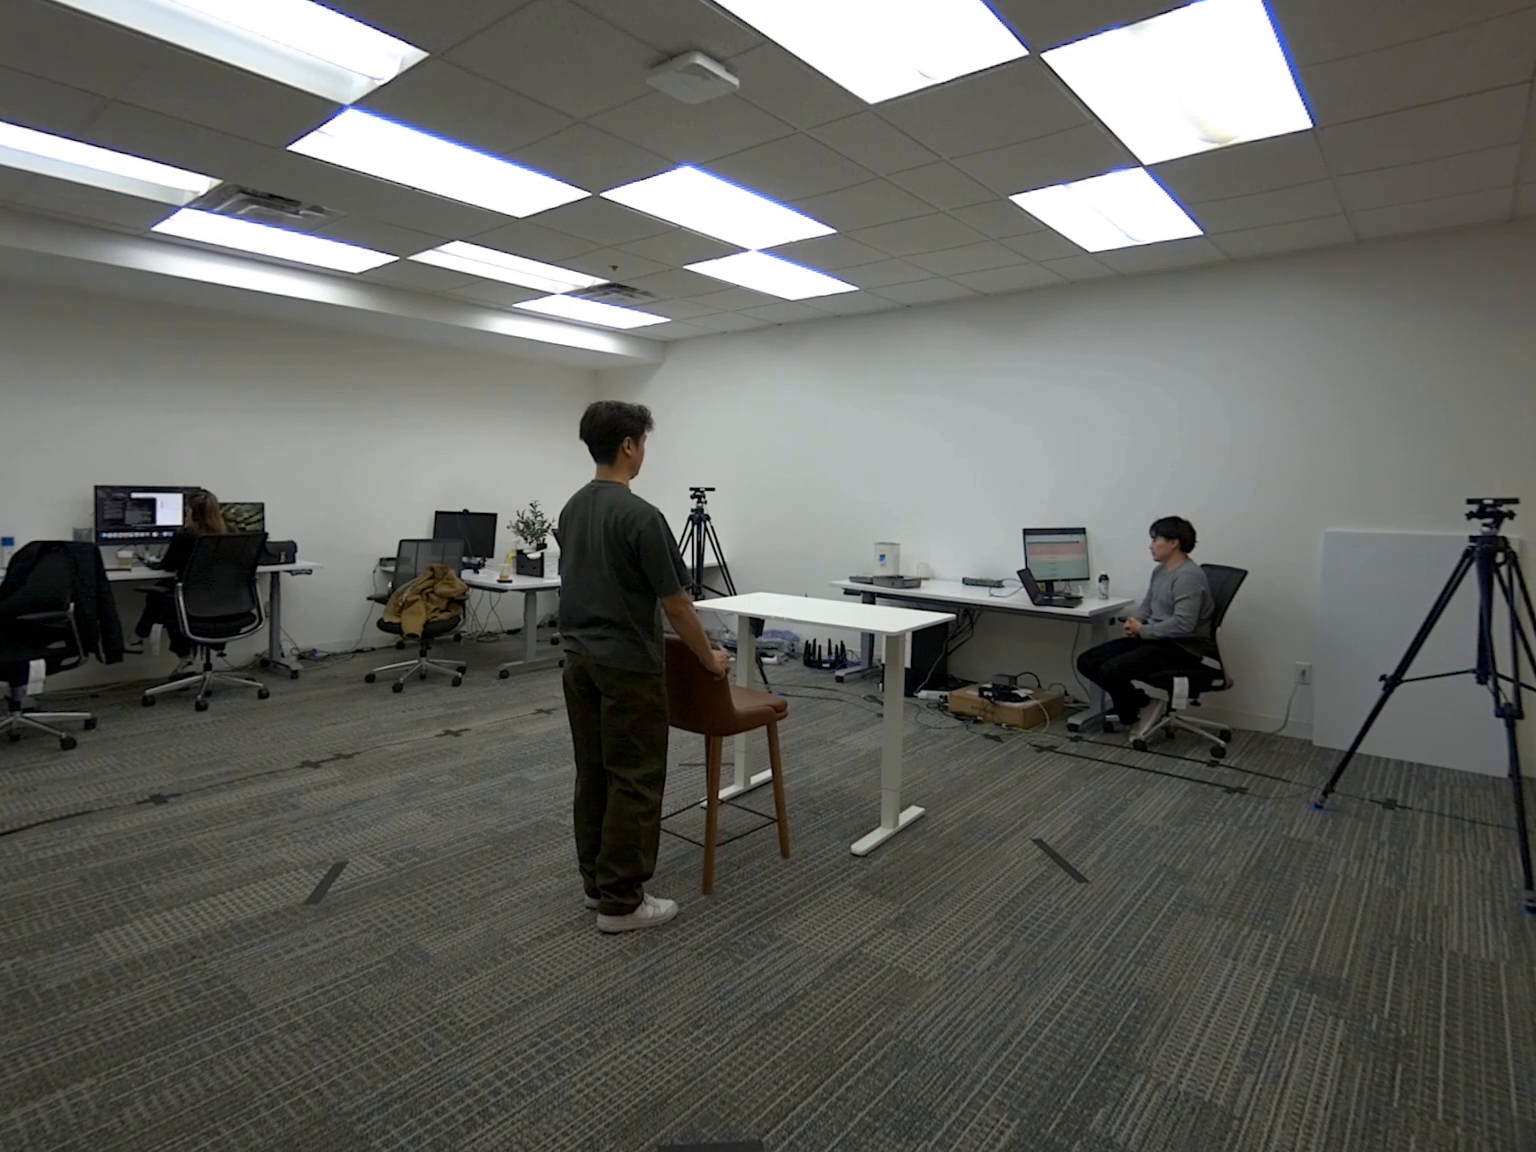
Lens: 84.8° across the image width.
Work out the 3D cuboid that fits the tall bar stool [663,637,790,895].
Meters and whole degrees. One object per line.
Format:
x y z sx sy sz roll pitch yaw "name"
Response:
-0.221 0.621 3.163 0.472 0.886 0.454 4 6 41 "tall bar stool"
